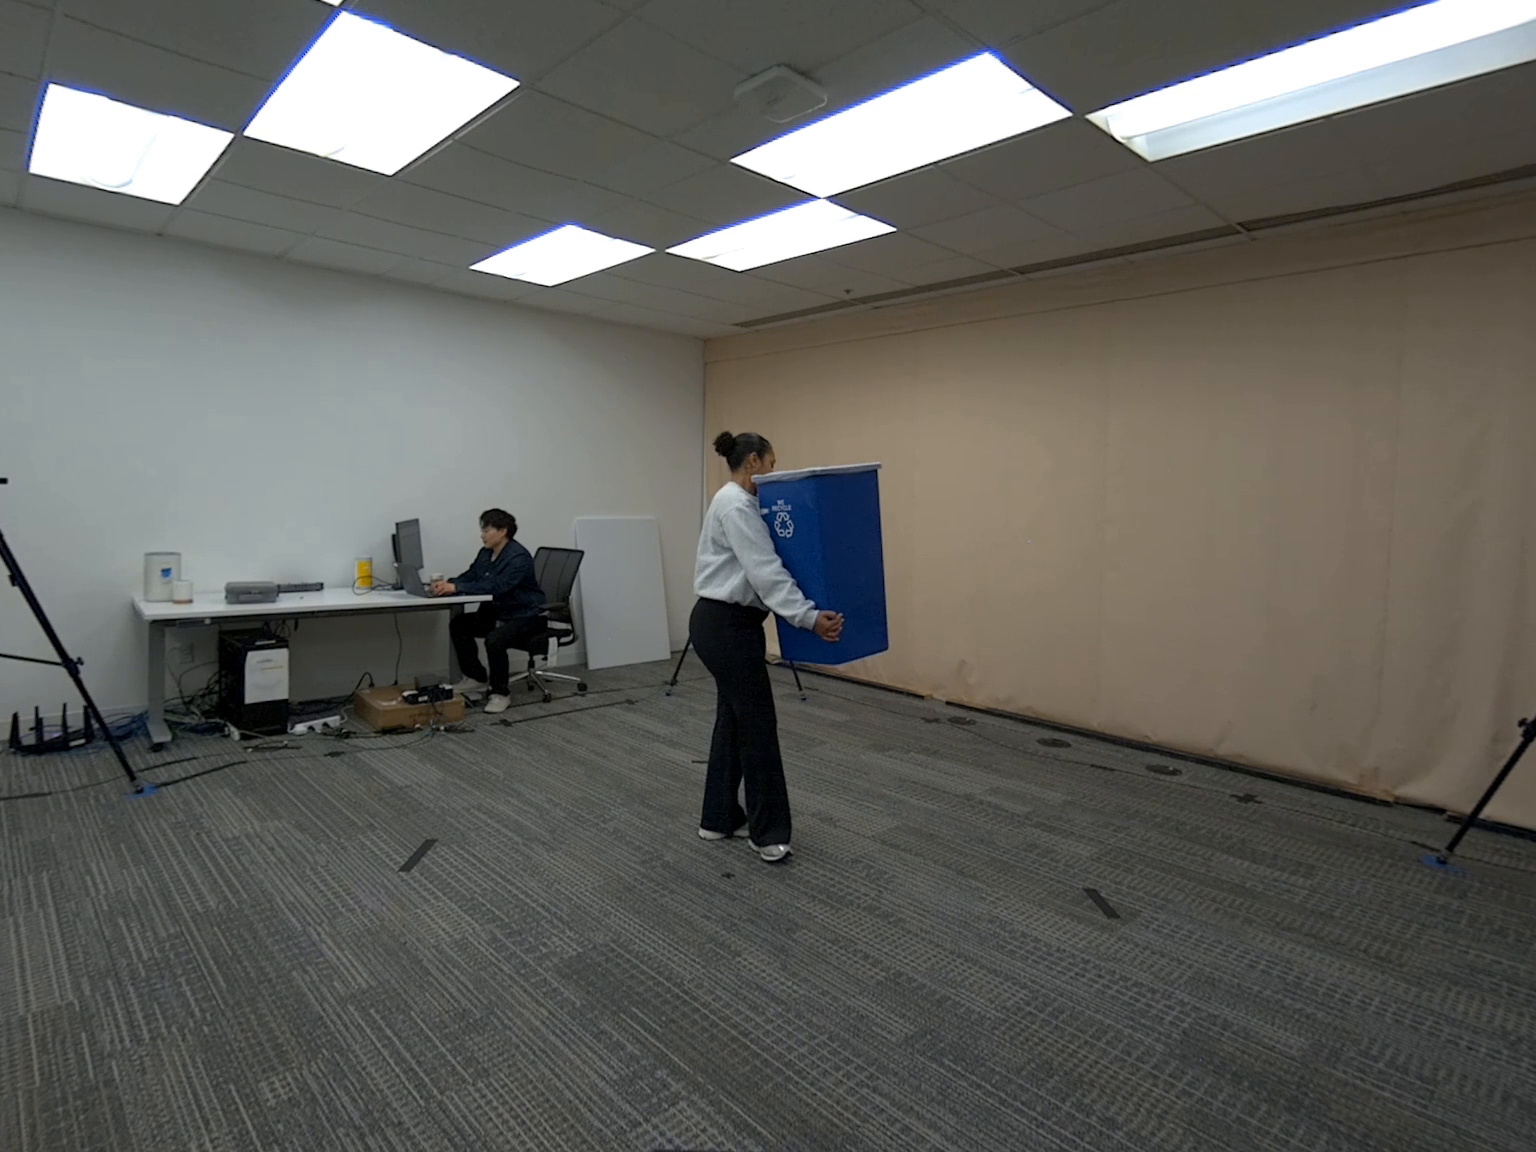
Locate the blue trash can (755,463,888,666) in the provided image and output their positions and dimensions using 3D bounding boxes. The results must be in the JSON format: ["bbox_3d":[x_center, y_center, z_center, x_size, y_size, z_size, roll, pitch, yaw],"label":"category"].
[{"bbox_3d":[0.211,-0.052,3.197,0.366,0.712,0.386,-9,4,-41],"label":"blue trash can"}]
